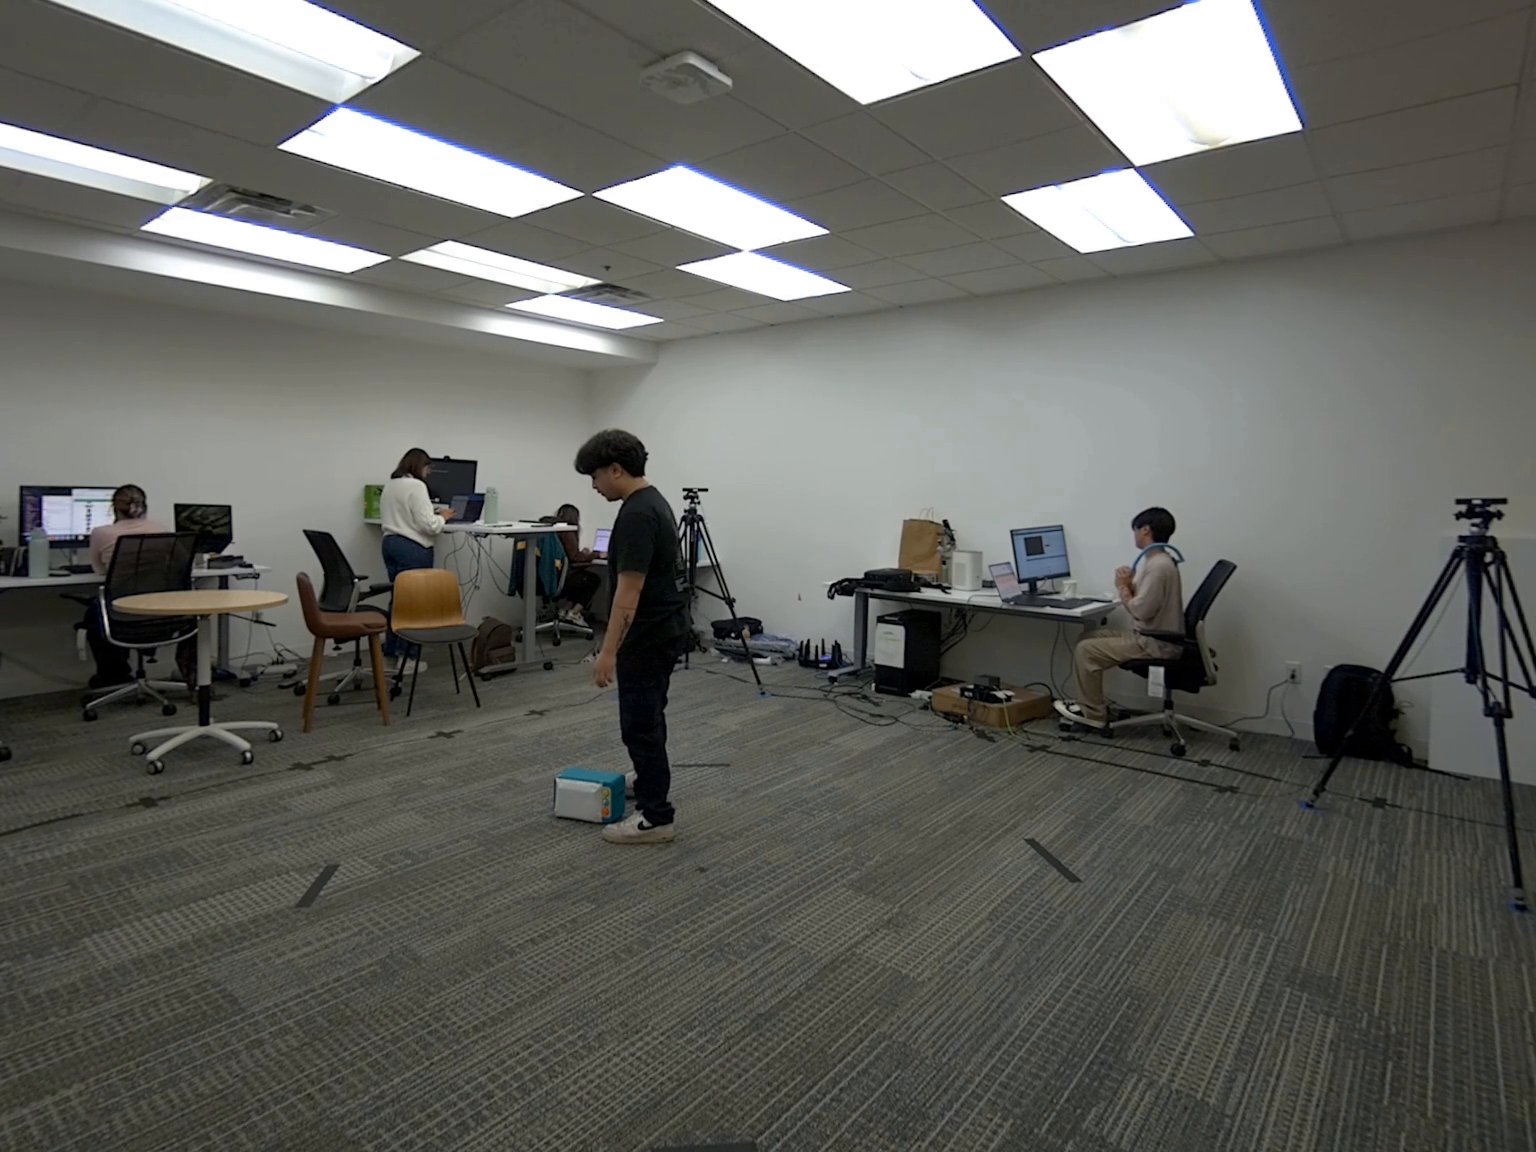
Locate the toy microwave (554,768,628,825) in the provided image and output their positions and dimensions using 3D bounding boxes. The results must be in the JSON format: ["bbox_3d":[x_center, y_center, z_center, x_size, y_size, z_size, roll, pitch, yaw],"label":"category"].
[{"bbox_3d":[-0.765,0.921,3.580,0.292,0.183,0.150,2,4,18],"label":"toy microwave"}]
